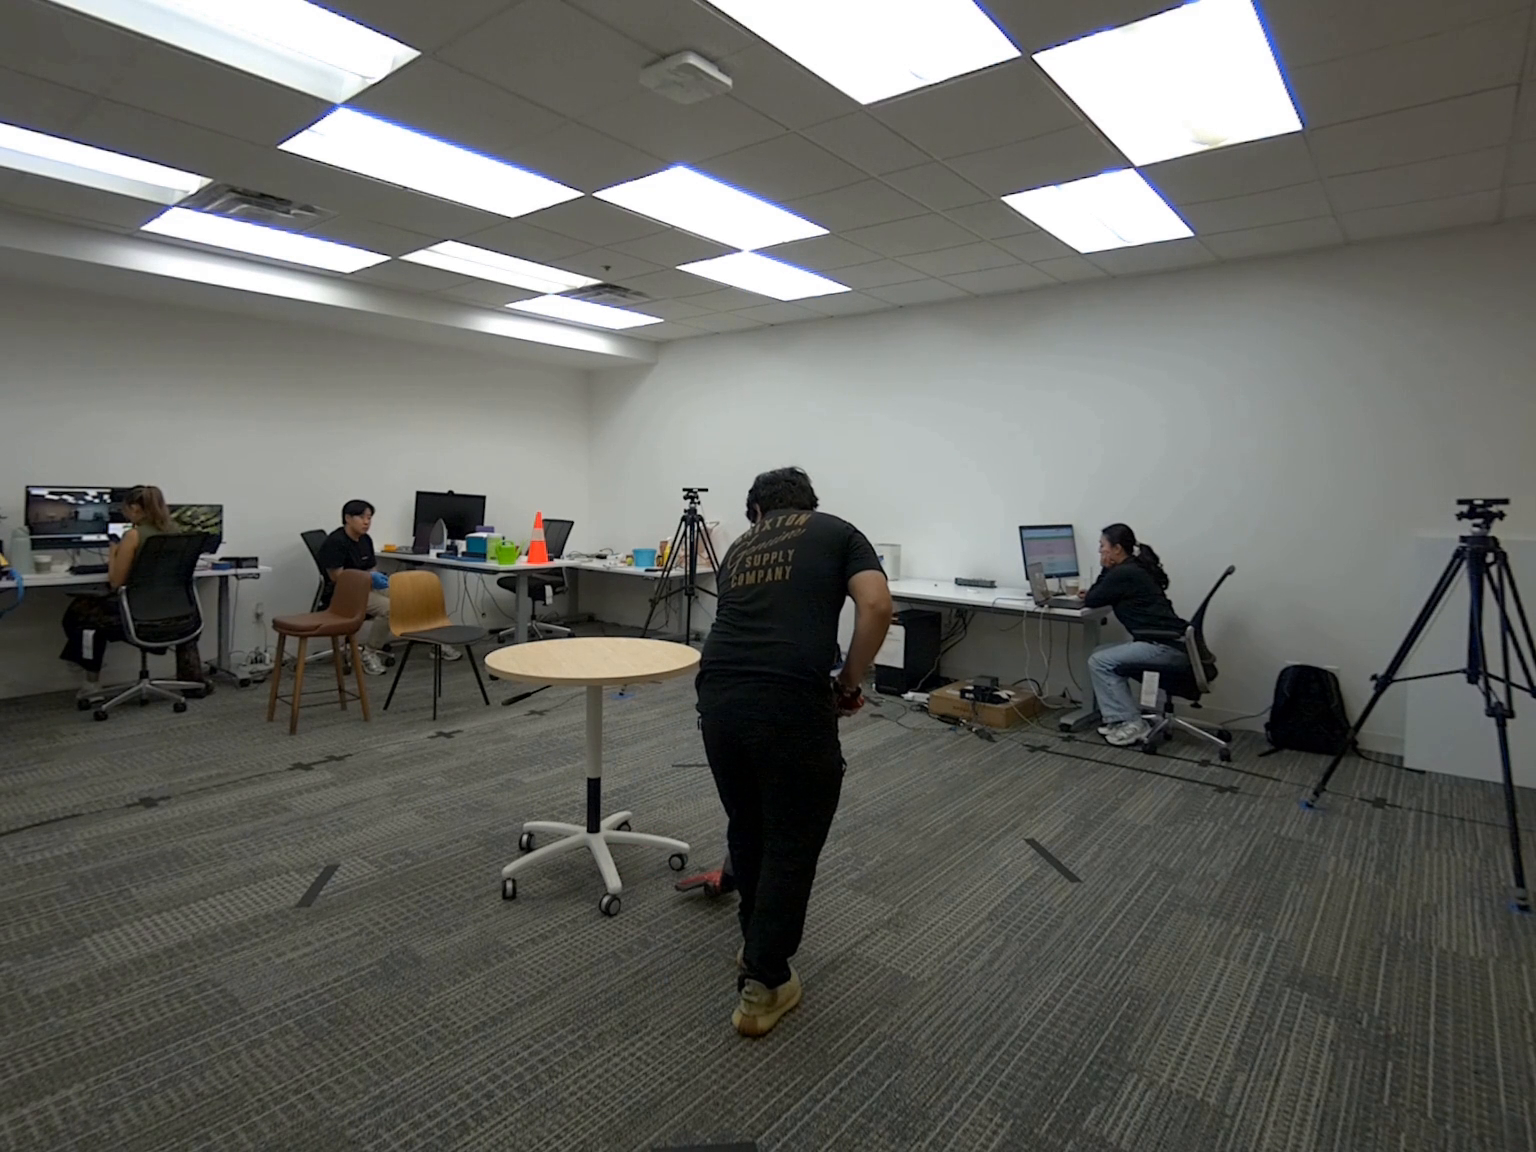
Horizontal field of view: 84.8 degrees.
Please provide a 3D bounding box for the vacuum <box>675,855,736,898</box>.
[{"bbox_3d":[0.018,0.688,2.599,0.246,1.040,0.149,-8,51,-41],"label":"vacuum"}]
